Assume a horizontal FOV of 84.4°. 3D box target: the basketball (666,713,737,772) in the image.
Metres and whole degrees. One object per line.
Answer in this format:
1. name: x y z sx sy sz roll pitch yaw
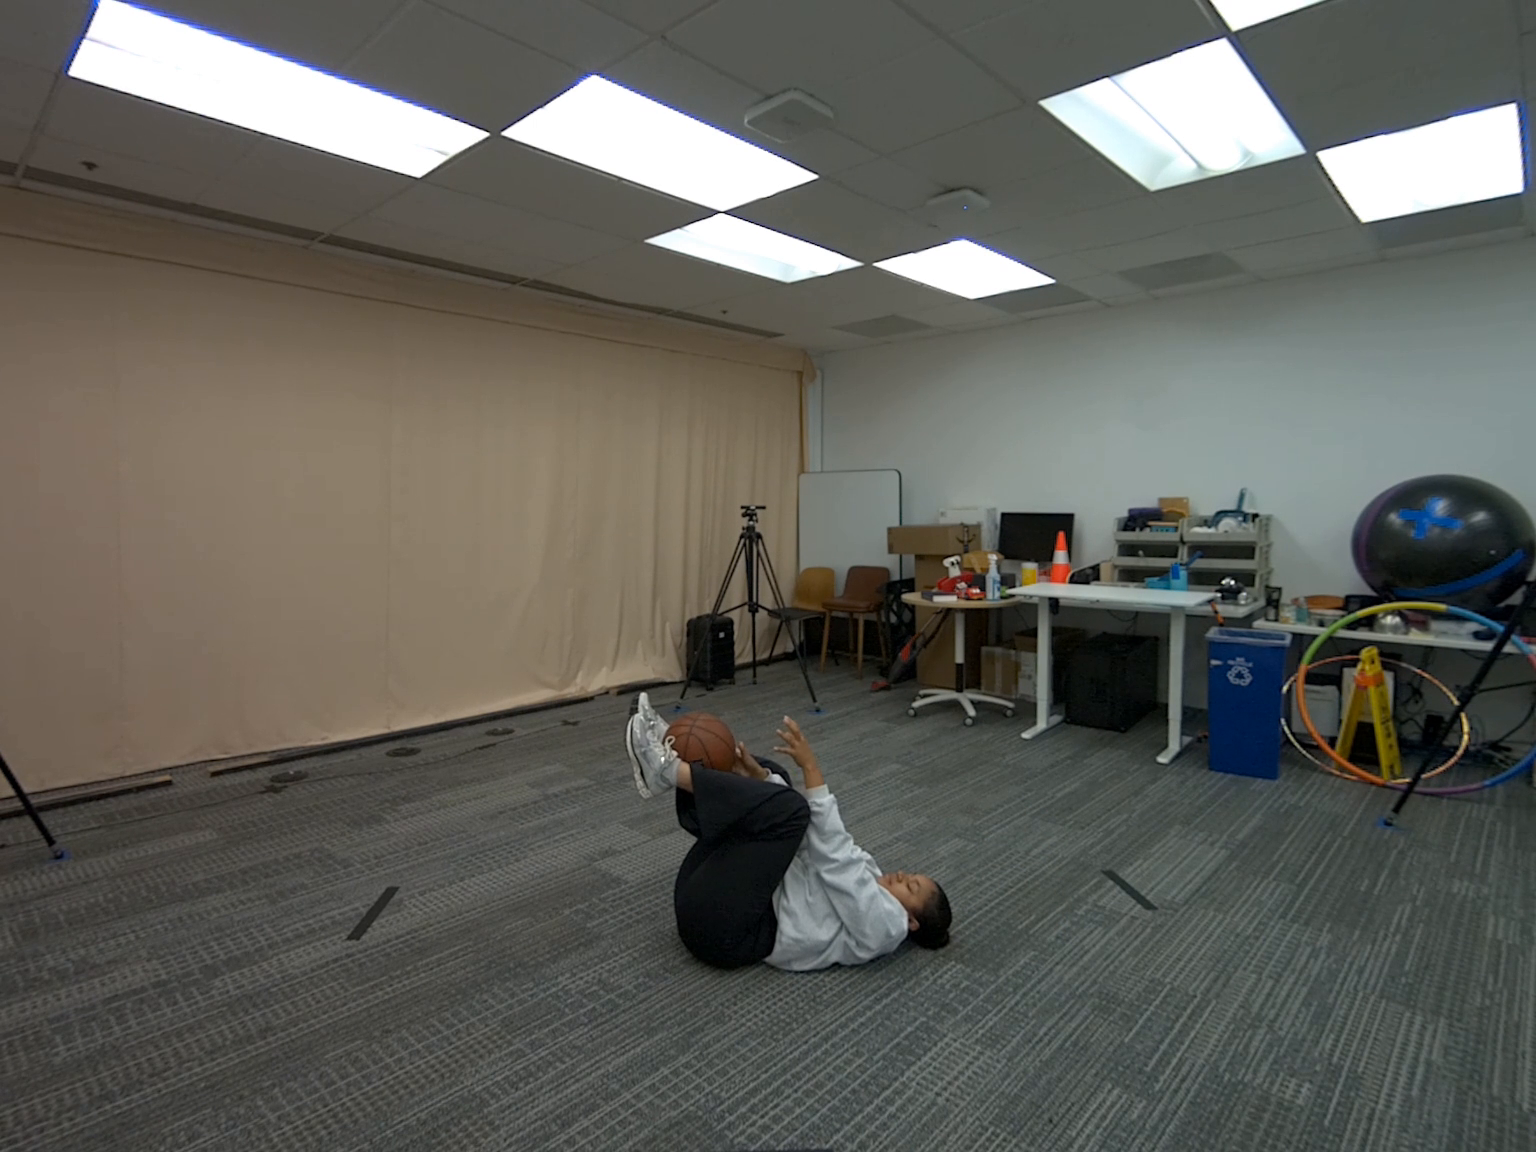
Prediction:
1. basketball: -0.217 0.553 2.664 0.236 0.235 0.237 0 4 -2
